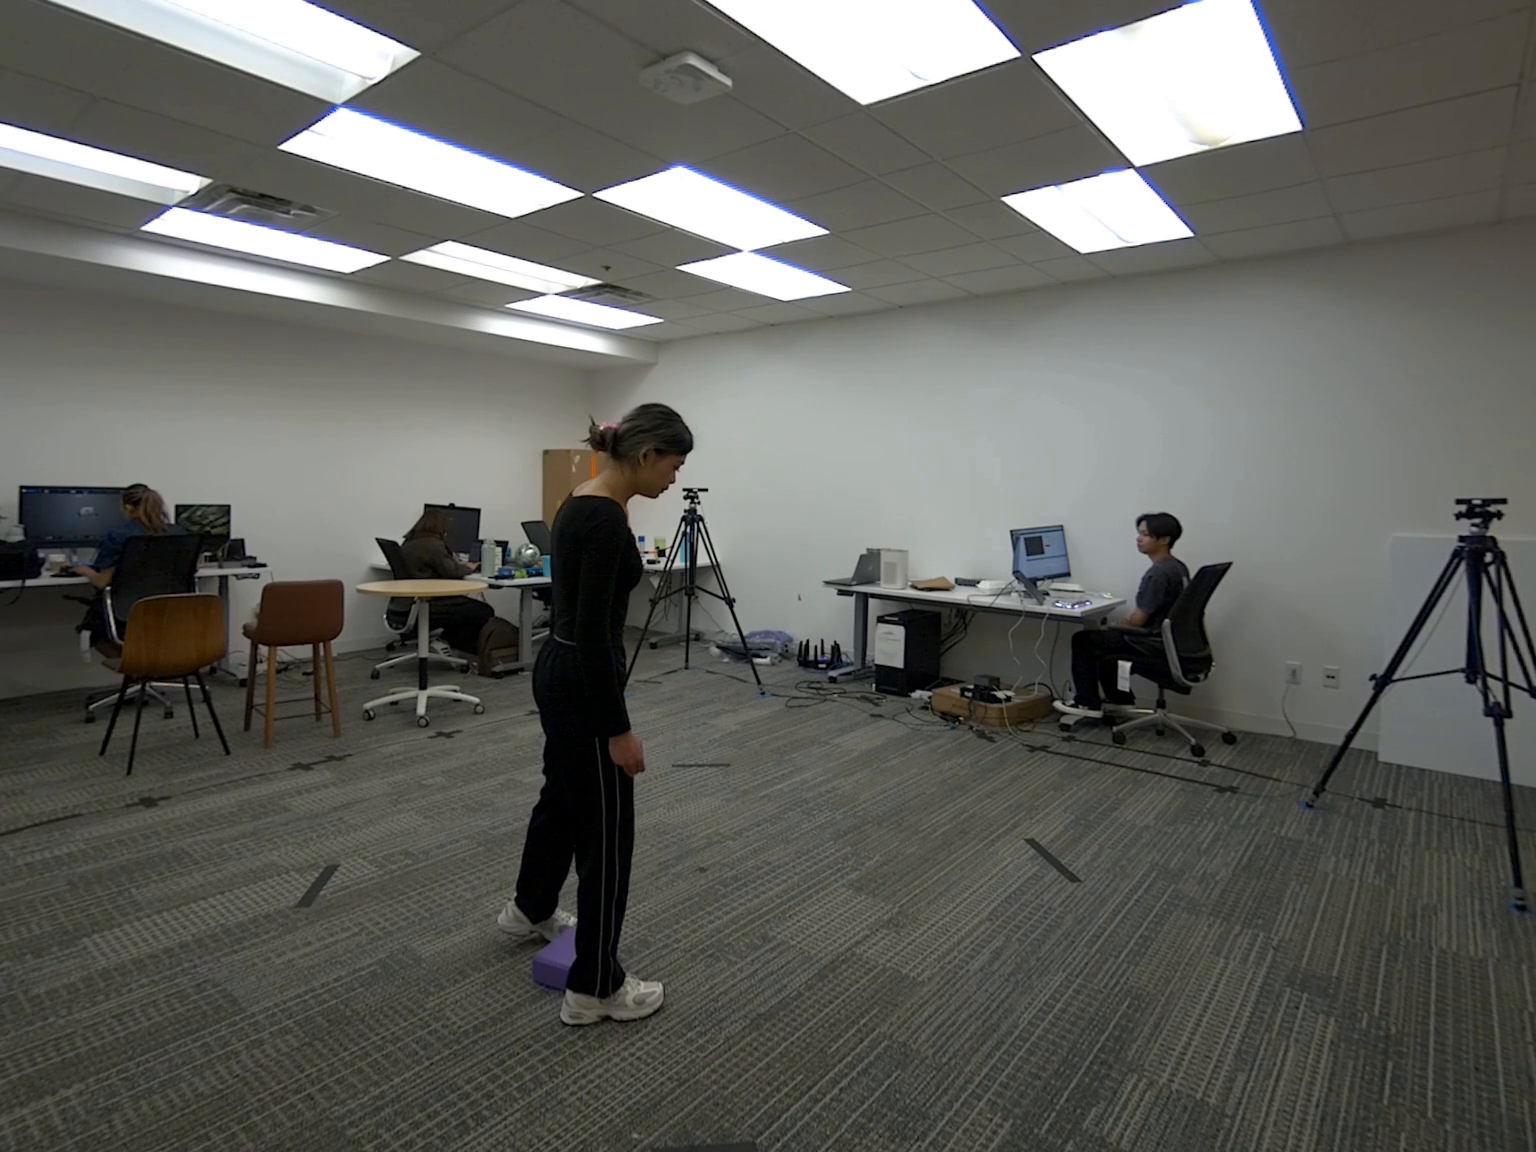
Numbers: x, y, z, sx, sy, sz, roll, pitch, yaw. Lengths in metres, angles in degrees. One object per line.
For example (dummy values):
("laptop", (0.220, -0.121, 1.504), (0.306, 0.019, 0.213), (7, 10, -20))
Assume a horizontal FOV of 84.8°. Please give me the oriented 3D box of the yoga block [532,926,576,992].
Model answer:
("yoga block", (-0.560, 1.084, 2.447), (0.153, 0.076, 0.224), (3, 6, 23))
